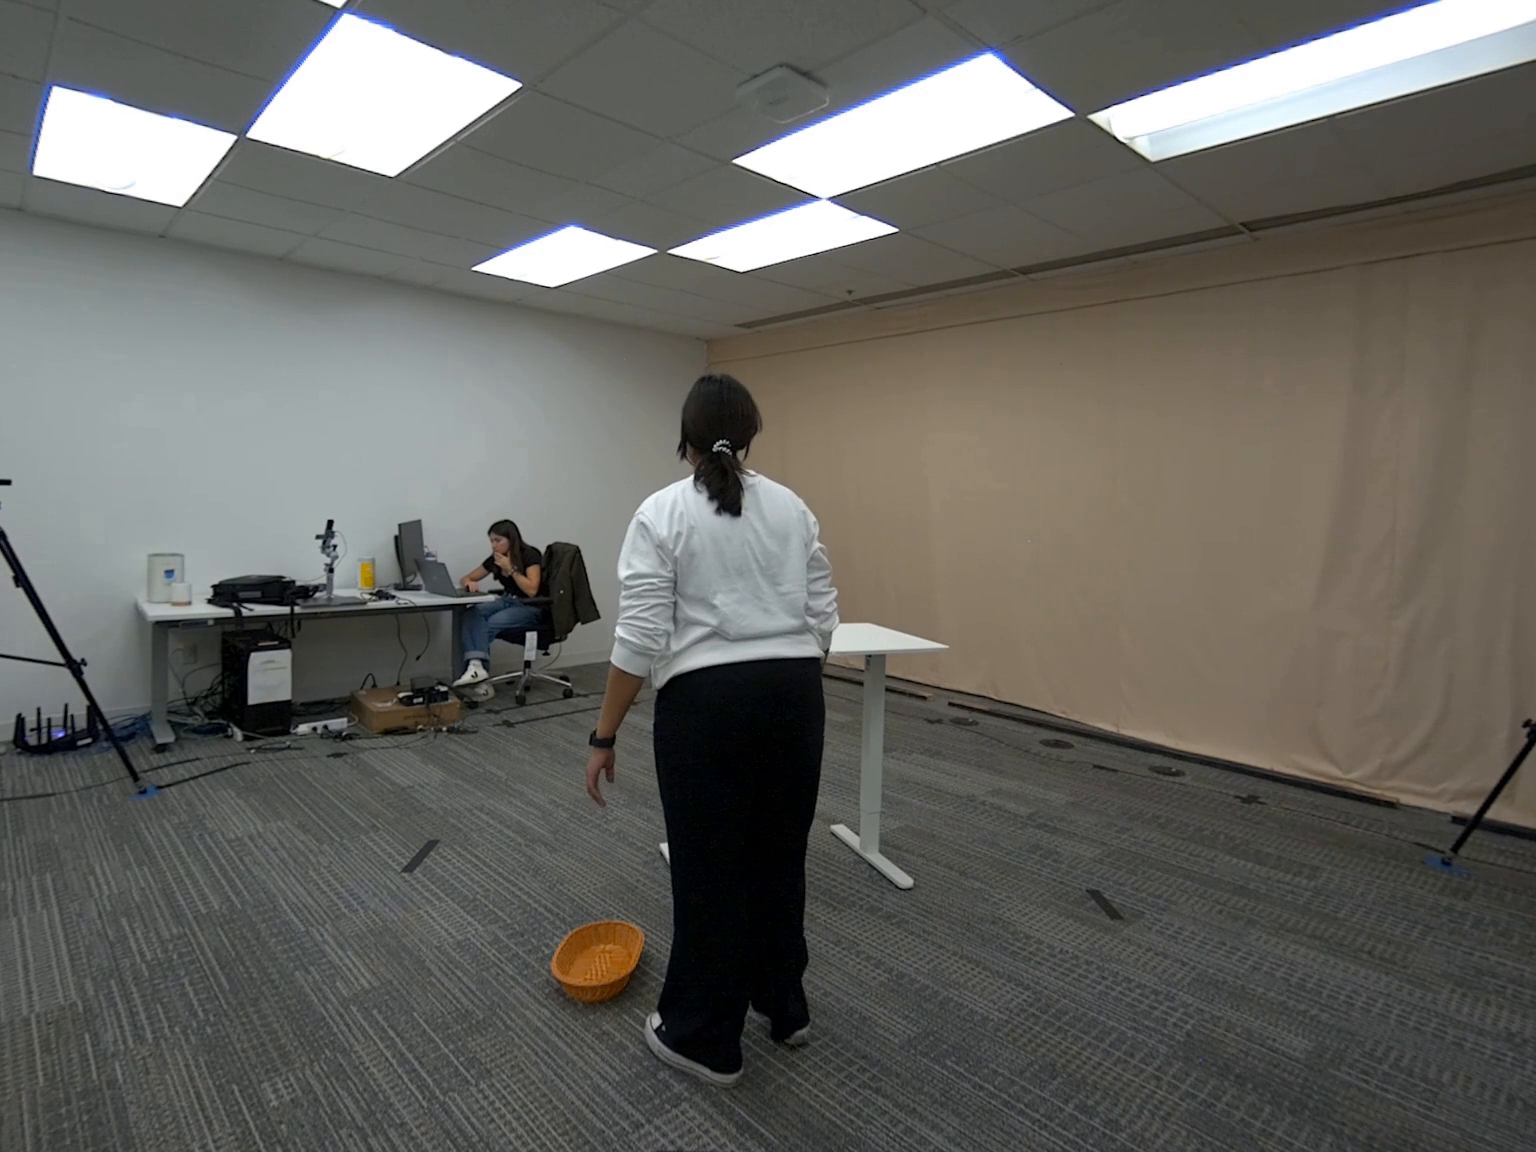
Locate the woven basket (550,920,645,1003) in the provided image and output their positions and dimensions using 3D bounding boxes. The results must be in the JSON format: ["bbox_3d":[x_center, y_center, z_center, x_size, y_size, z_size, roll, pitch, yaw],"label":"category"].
[{"bbox_3d":[-0.498,1.121,2.445,0.254,0.073,0.349,0,5,6],"label":"woven basket"}]
